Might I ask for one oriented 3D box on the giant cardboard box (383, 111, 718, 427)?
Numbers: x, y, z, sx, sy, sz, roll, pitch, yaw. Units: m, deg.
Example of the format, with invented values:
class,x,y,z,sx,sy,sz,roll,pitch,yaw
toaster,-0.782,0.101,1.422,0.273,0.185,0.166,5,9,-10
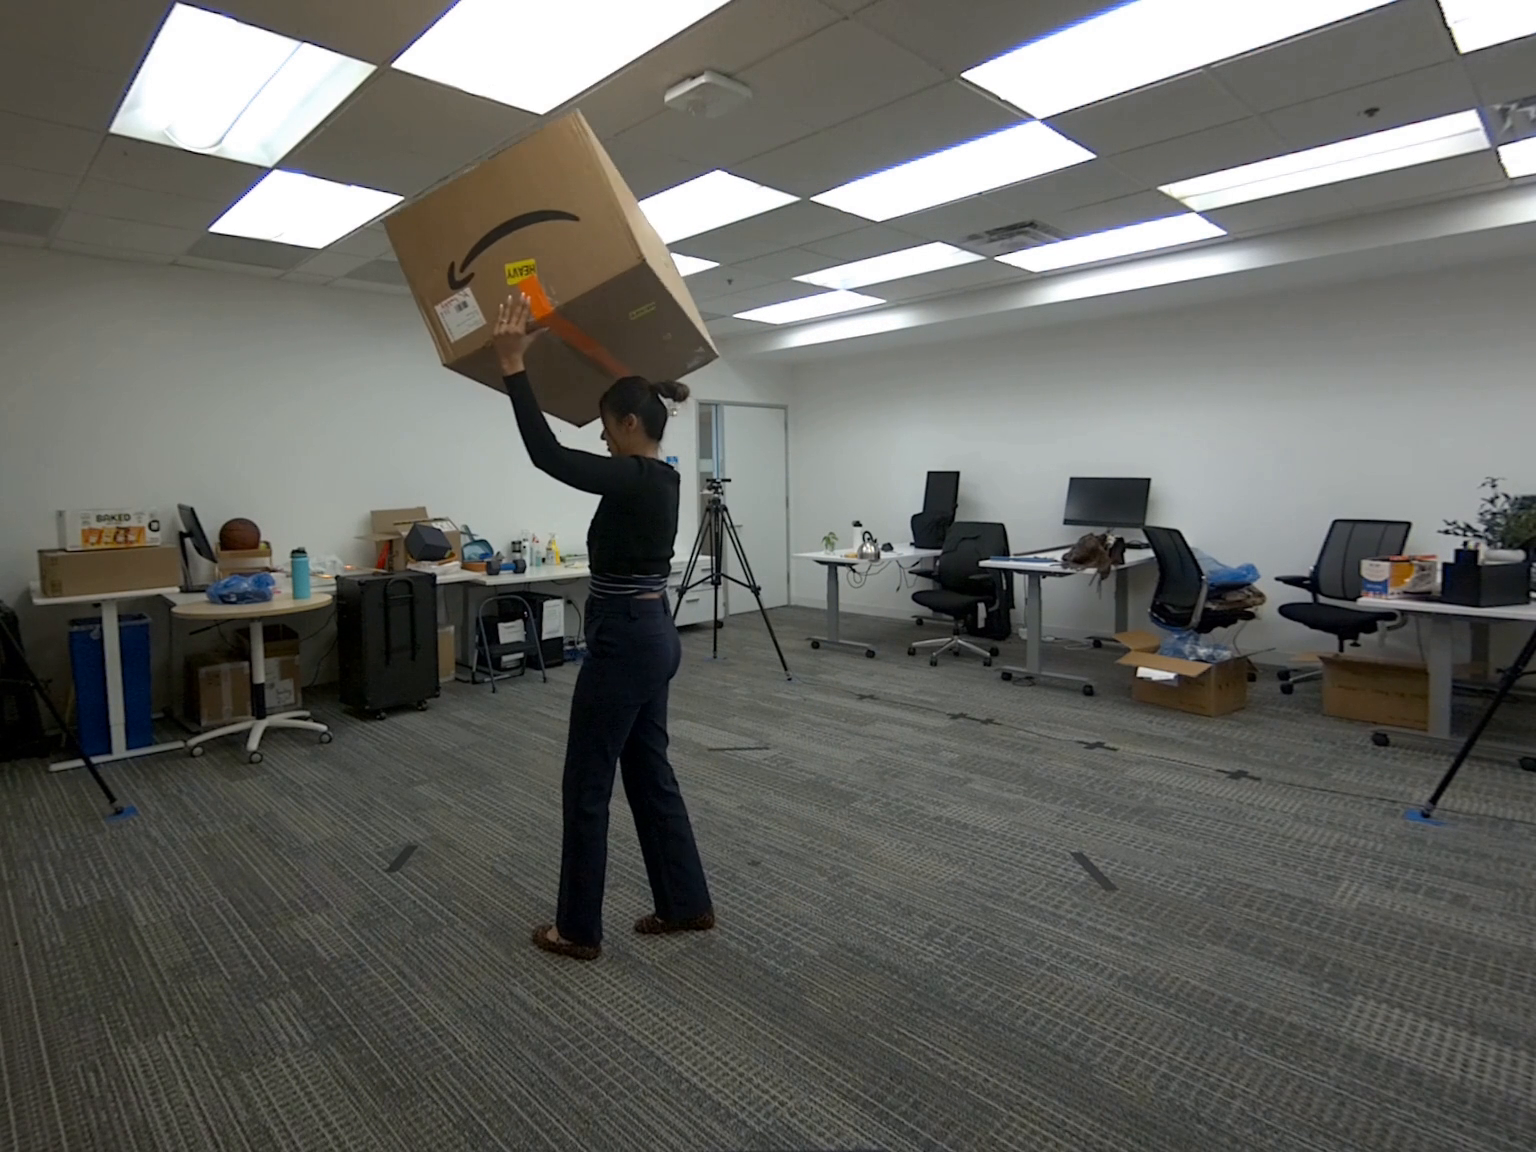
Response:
class,x,y,z,sx,sy,sz,roll,pitch,yaw
giant cardboard box,-0.567,-0.832,2.589,0.580,0.429,1.016,-24,-3,7
